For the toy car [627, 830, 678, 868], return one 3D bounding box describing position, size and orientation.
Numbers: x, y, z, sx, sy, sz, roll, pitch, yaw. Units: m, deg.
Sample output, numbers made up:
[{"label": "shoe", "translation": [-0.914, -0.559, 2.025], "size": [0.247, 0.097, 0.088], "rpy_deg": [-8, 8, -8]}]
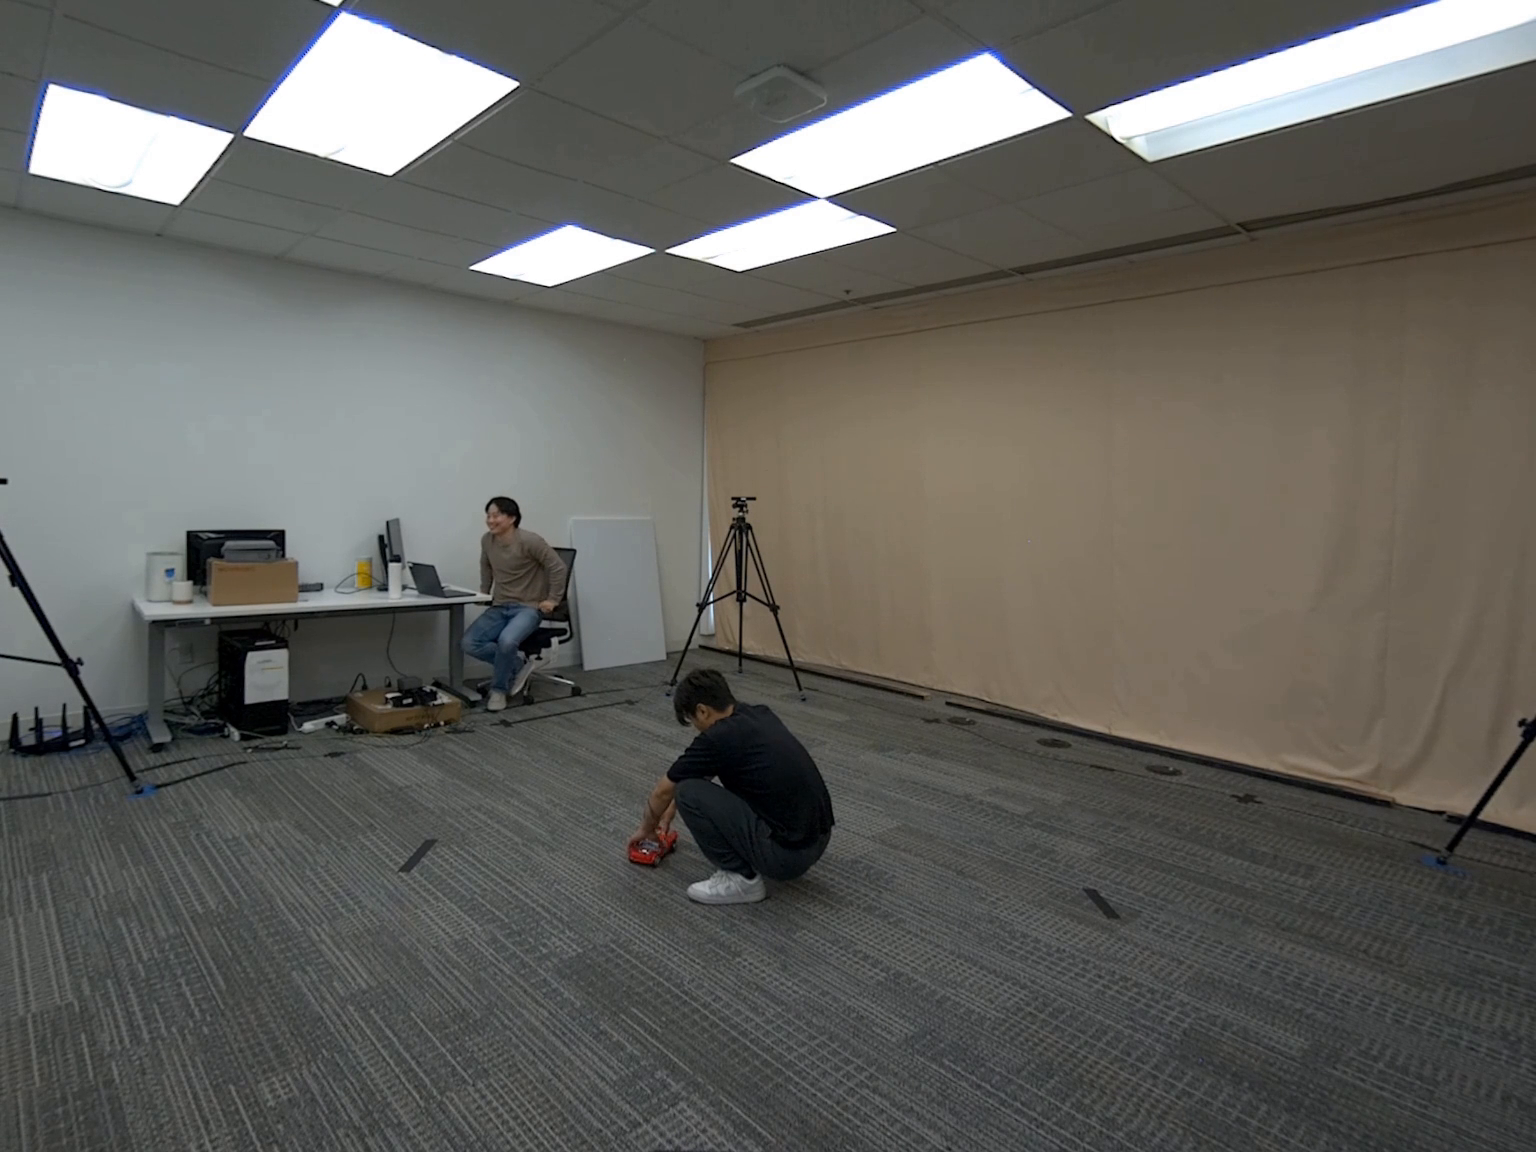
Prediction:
[{"label": "toy car", "translation": [-0.436, 1.050, 3.276], "size": [0.132, 0.082, 0.253], "rpy_deg": [1, 14, 20]}]
